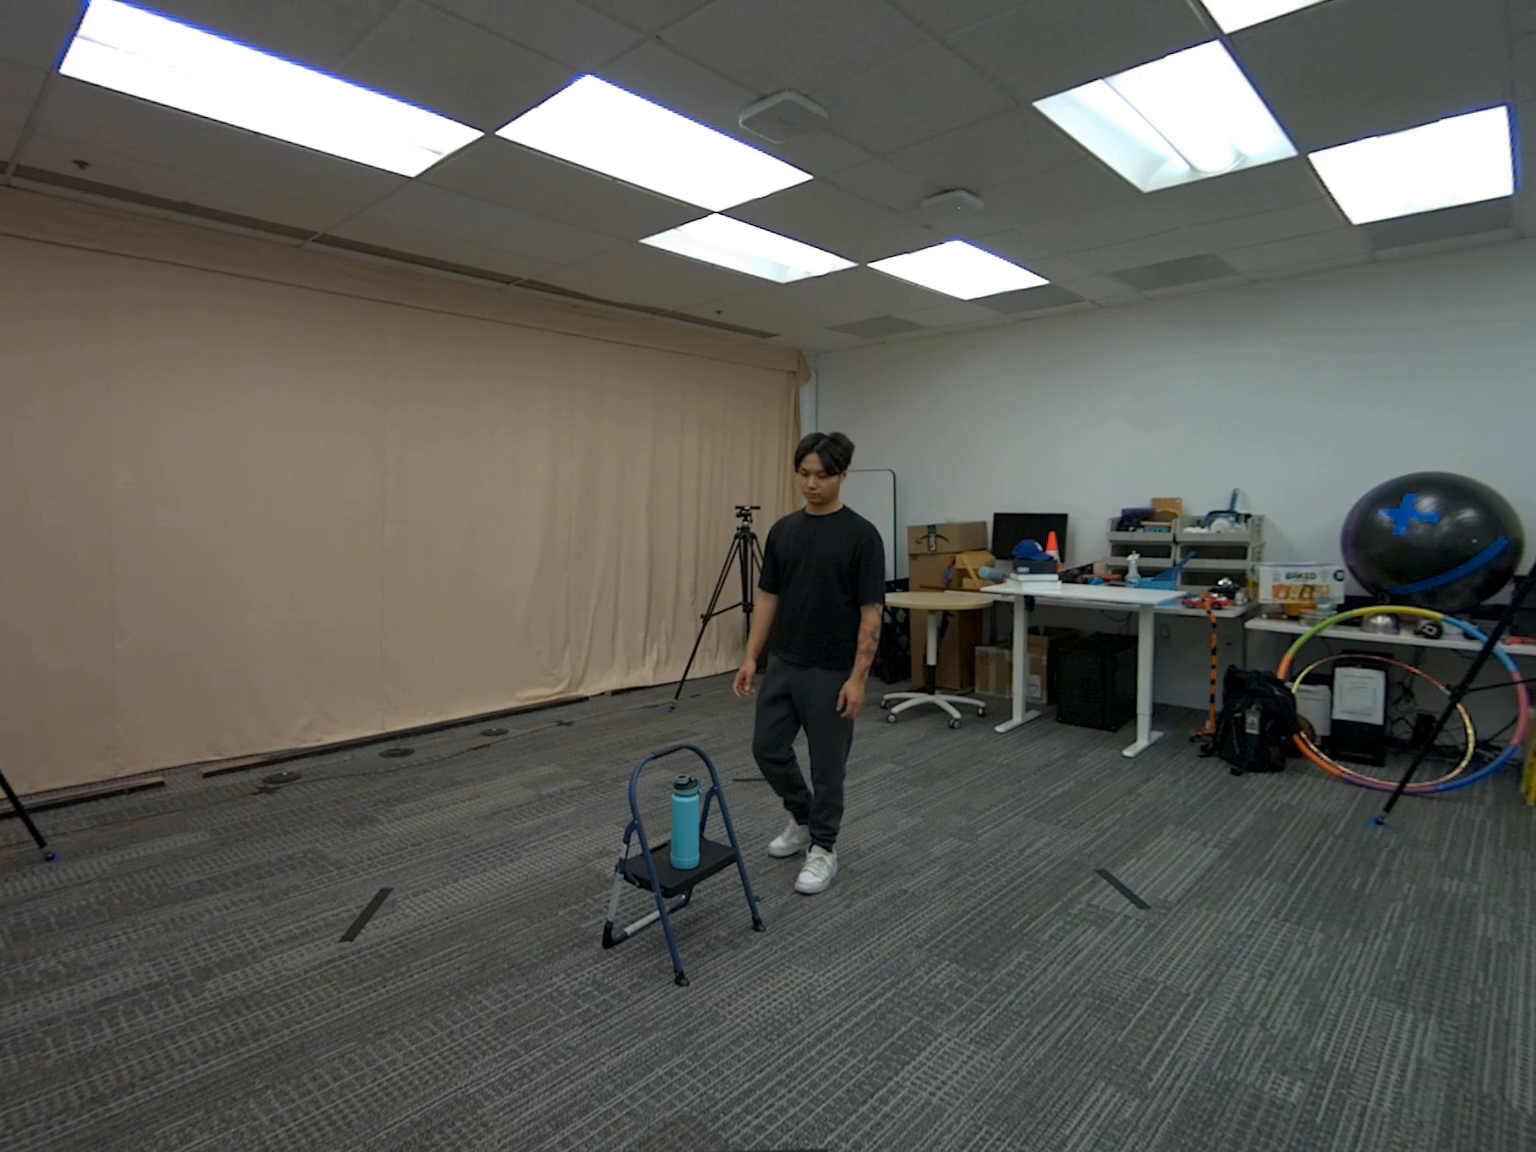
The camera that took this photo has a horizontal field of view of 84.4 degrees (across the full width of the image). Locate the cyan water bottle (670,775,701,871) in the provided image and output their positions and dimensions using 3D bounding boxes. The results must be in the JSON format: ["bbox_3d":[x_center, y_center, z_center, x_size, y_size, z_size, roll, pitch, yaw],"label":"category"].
[{"bbox_3d":[-0.257,0.771,2.658,0.092,0.283,0.092,0,3,-2],"label":"cyan water bottle"}]
